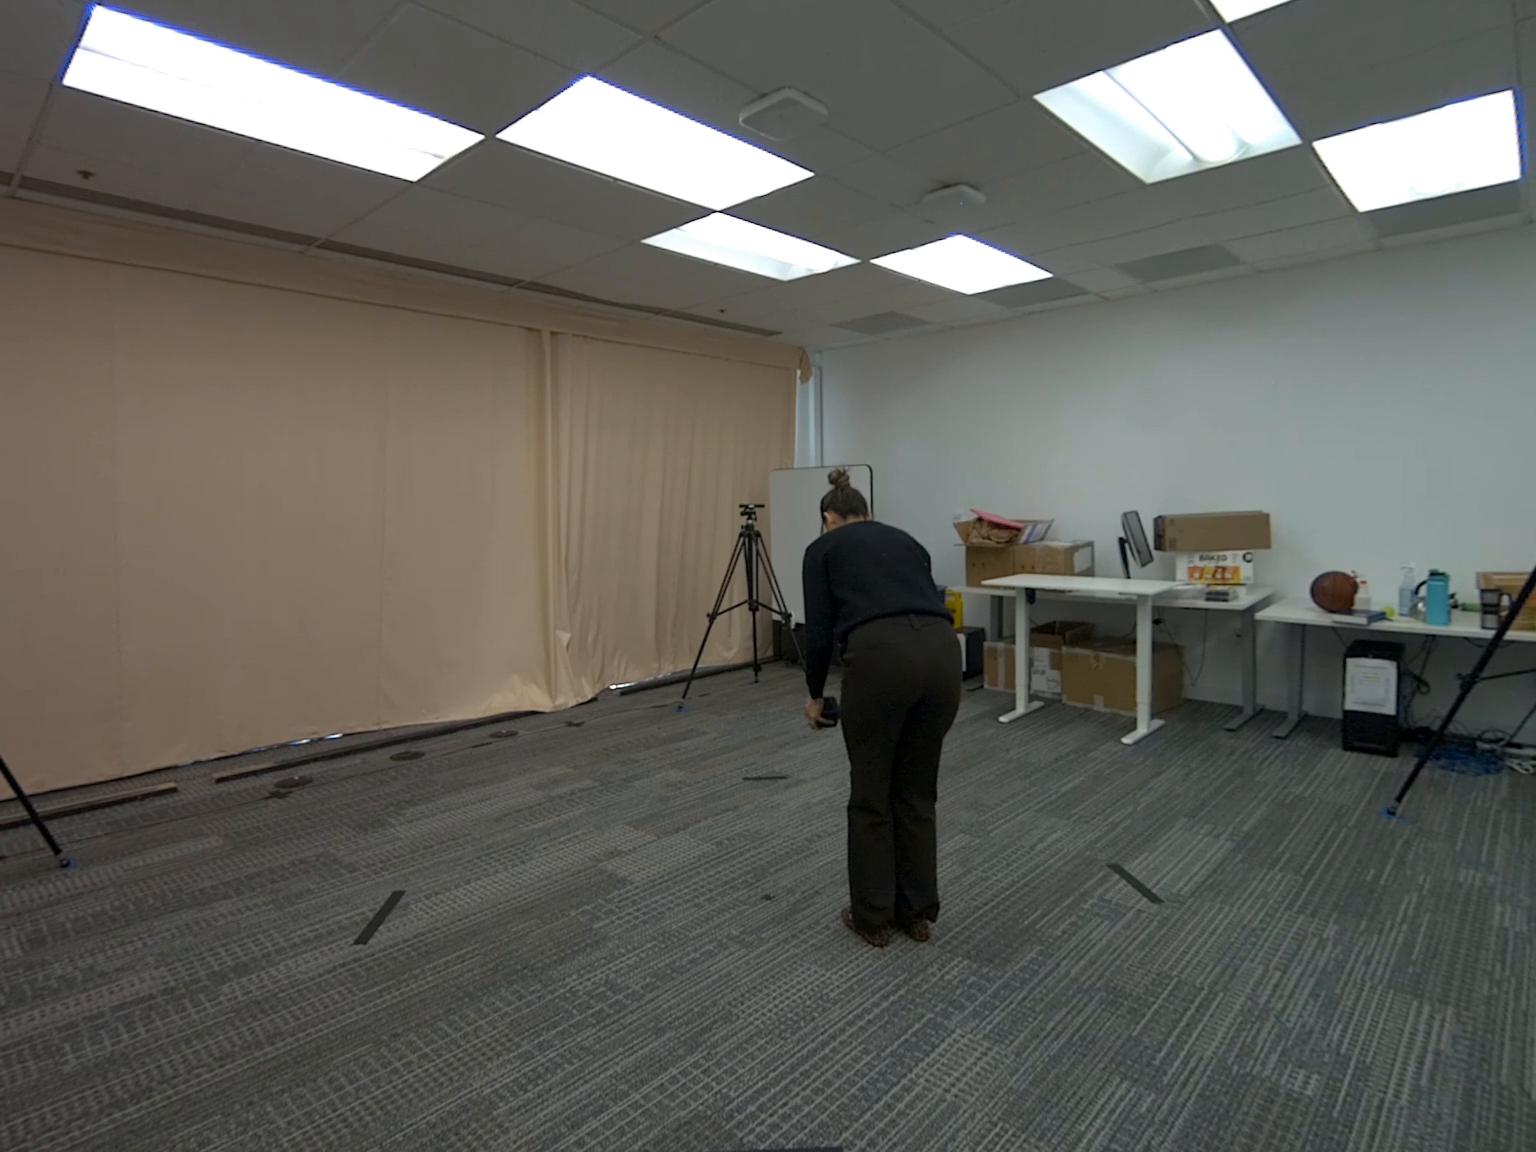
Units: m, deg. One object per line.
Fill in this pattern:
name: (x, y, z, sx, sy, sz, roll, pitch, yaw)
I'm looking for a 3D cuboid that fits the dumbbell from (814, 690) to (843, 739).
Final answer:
dumbbell: (0.312, 0.480, 2.984, 0.291, 0.121, 0.111, -1, 25, -8)
